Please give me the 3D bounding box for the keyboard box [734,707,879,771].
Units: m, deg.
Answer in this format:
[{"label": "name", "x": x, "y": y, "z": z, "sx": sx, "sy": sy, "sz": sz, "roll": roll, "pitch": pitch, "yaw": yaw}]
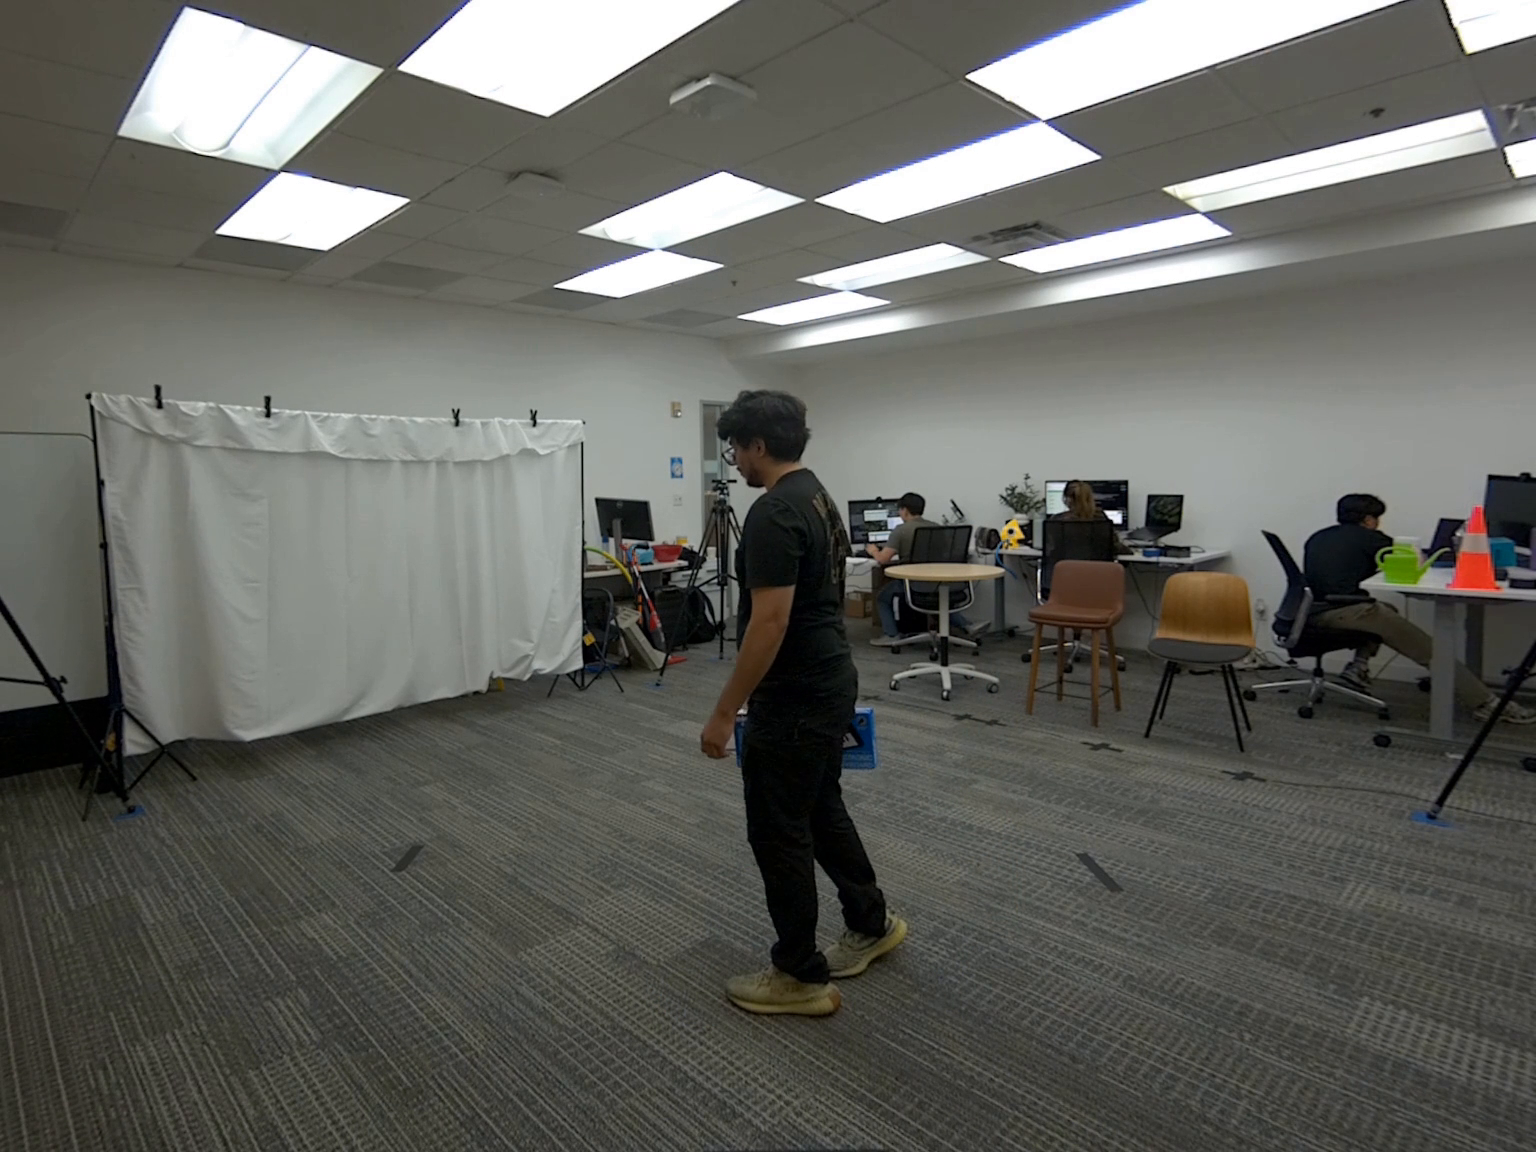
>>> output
[{"label": "keyboard box", "x": 0.115, "y": 0.502, "z": 2.636, "sx": 0.444, "sy": 0.175, "sz": 0.058, "roll": -4, "pitch": 3, "yaw": 21}]
